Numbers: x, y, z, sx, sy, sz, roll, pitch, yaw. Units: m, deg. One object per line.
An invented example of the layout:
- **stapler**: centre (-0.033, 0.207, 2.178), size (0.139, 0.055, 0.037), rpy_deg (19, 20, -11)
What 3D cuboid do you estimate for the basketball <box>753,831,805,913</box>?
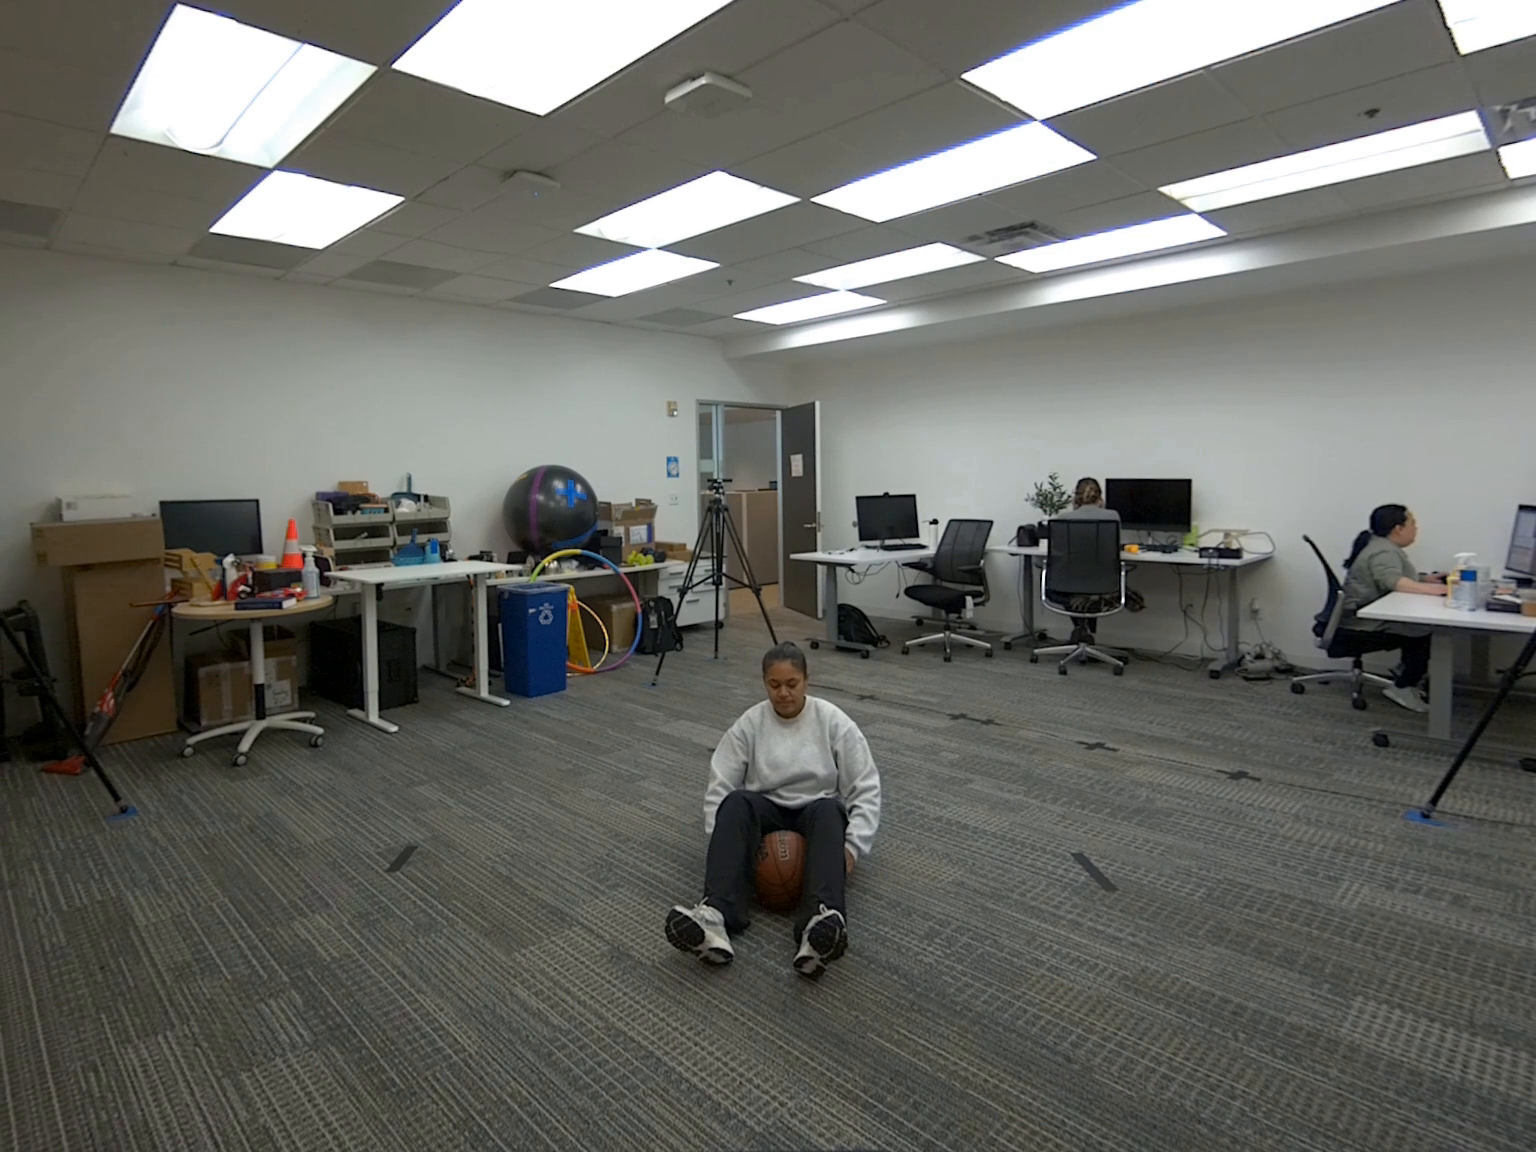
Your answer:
- **basketball**: centre (0.045, 0.954, 2.797), size (0.236, 0.235, 0.237), rpy_deg (-1, 5, -2)
